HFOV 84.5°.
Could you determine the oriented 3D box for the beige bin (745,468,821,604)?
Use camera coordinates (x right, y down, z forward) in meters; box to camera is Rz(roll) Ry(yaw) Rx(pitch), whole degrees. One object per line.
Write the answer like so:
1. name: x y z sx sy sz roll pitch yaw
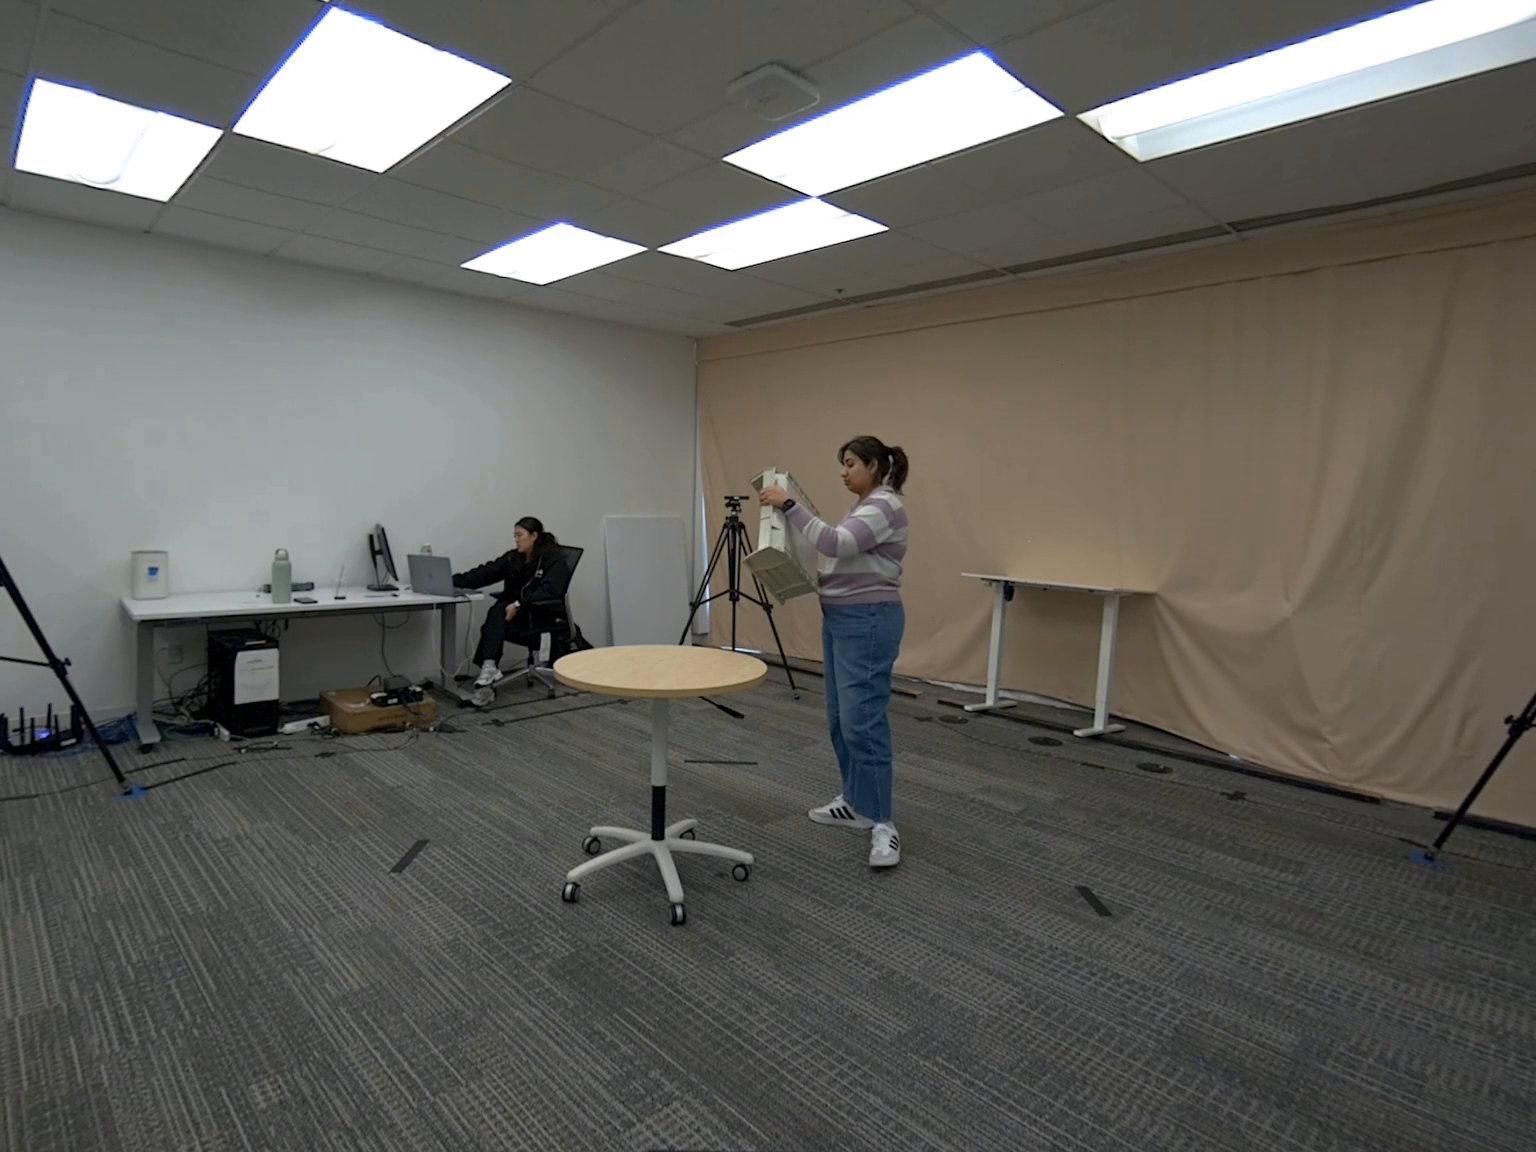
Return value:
1. beige bin: 0.041 -0.168 3.460 0.191 0.431 0.365 -17 -40 24
